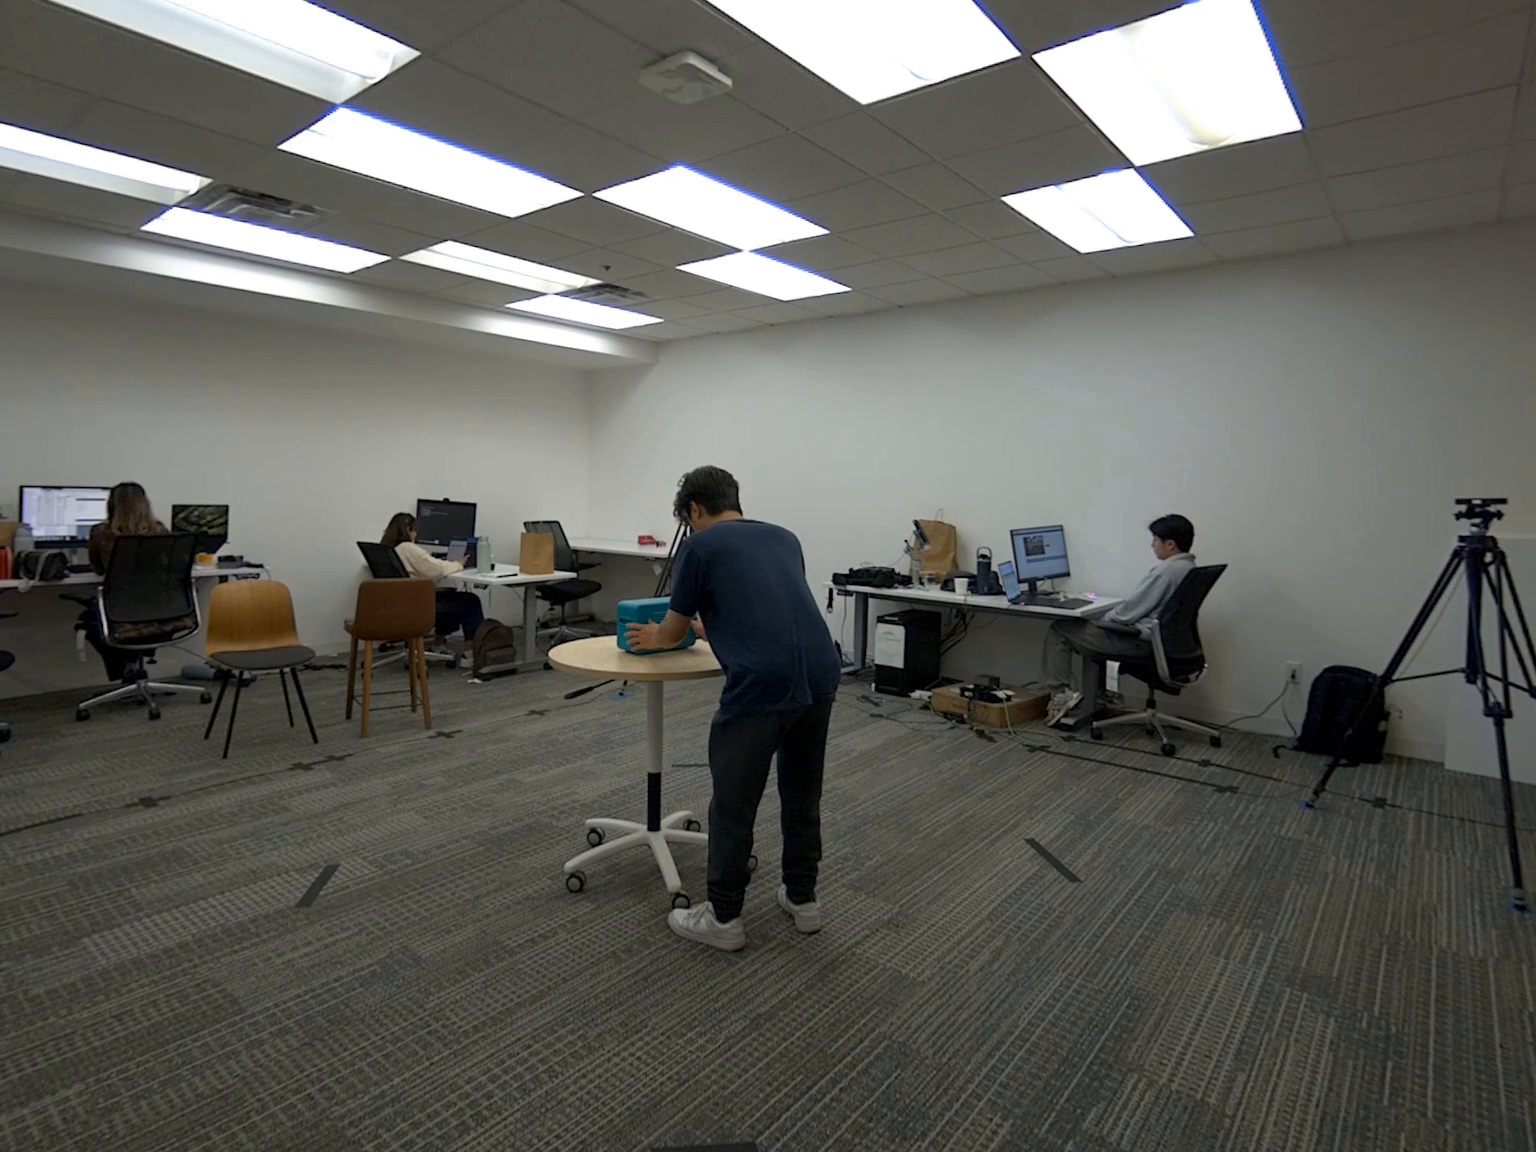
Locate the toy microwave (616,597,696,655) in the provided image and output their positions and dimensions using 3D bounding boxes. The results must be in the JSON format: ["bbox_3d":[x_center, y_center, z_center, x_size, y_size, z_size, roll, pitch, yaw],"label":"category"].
[{"bbox_3d":[-0.421,0.174,3.115,0.277,0.183,0.157,-3,5,-43],"label":"toy microwave"}]
